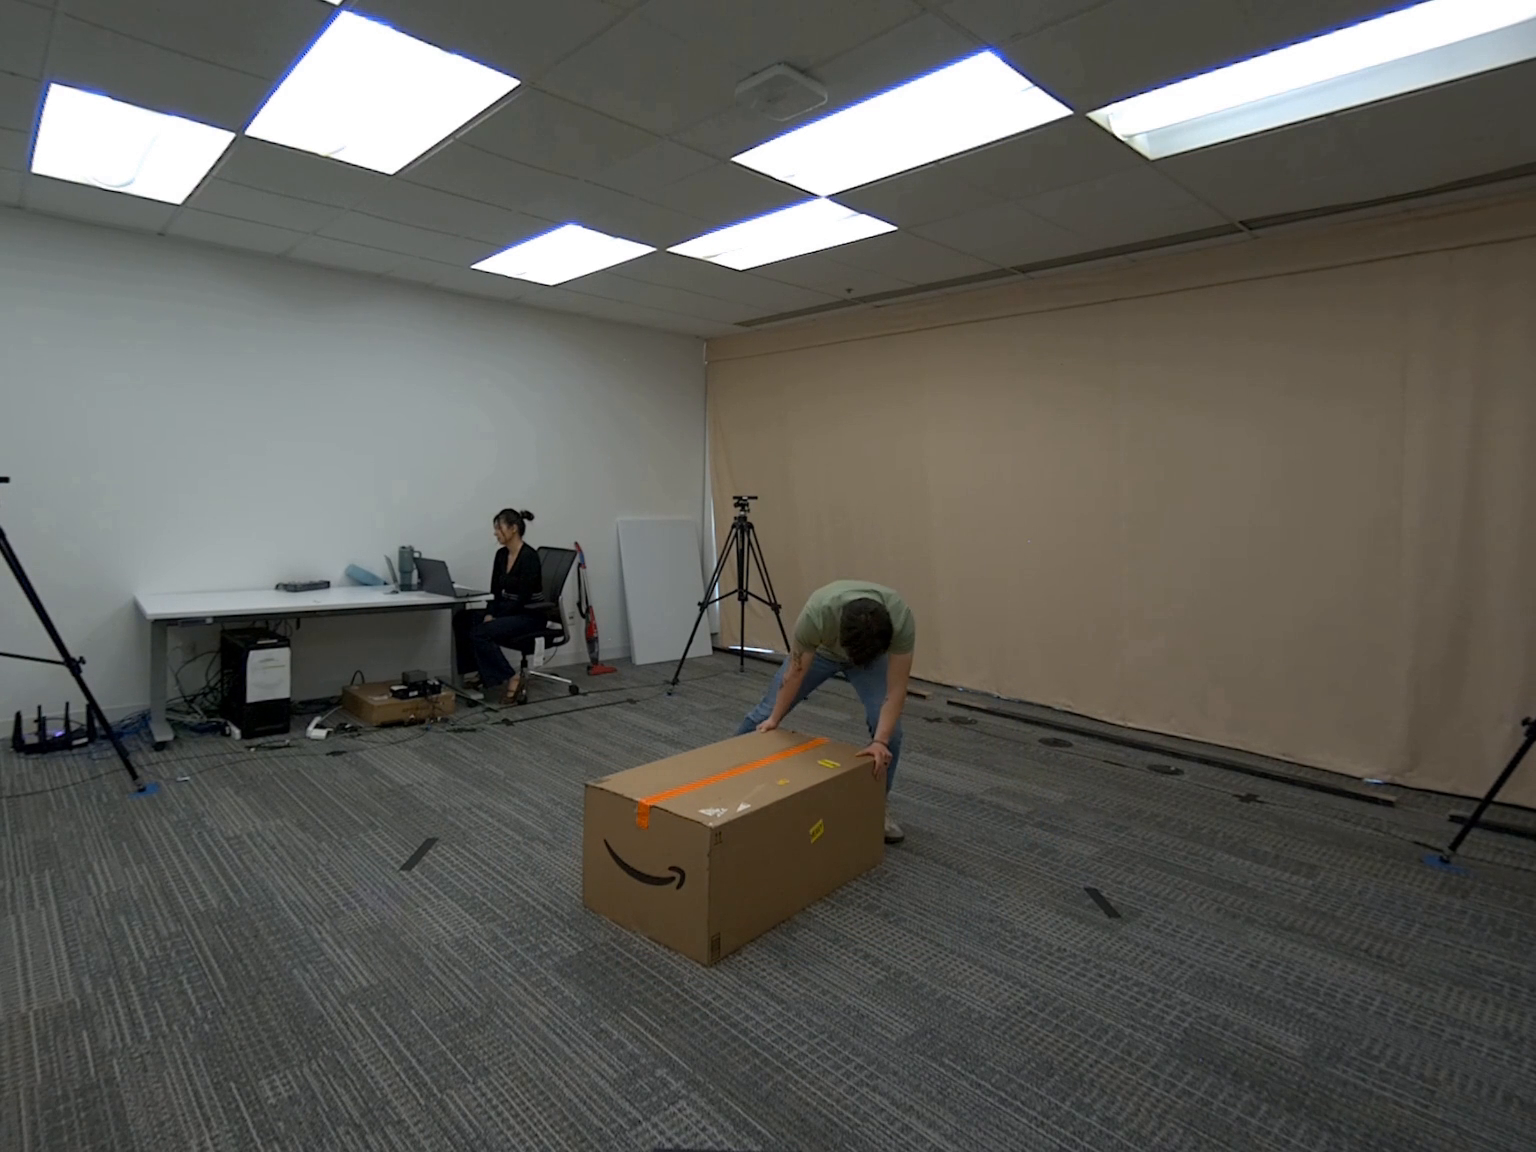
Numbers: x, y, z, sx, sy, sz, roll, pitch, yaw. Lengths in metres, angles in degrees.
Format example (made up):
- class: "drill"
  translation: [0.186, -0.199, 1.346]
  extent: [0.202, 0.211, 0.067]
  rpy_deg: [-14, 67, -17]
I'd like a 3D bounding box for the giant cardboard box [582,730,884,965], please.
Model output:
- class: "giant cardboard box"
  translation: [-0.094, 0.898, 3.037]
  extent: [0.592, 0.425, 1.003]
  rpy_deg: [5, 6, 38]
